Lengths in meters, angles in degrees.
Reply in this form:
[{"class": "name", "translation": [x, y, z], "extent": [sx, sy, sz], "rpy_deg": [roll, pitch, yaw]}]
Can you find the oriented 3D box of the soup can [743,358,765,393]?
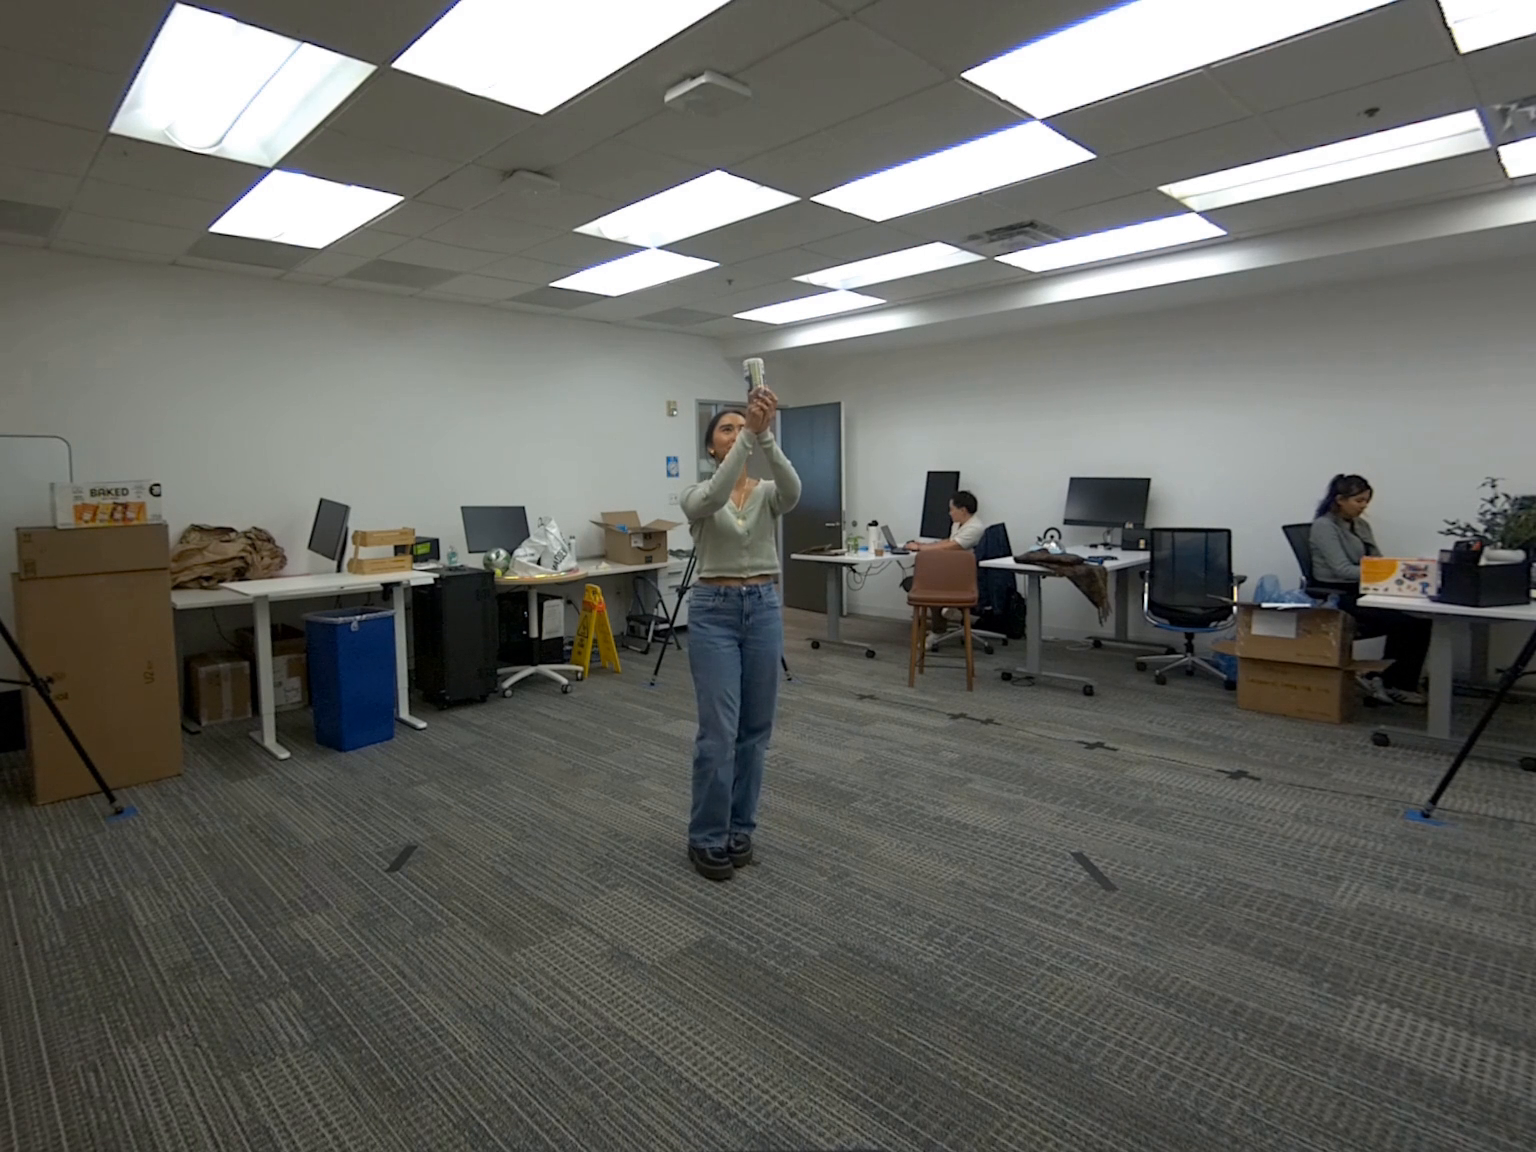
[{"class": "soup can", "translation": [-0.047, -0.646, 2.797], "extent": [0.067, 0.122, 0.067], "rpy_deg": [-6, -1, -2]}]
